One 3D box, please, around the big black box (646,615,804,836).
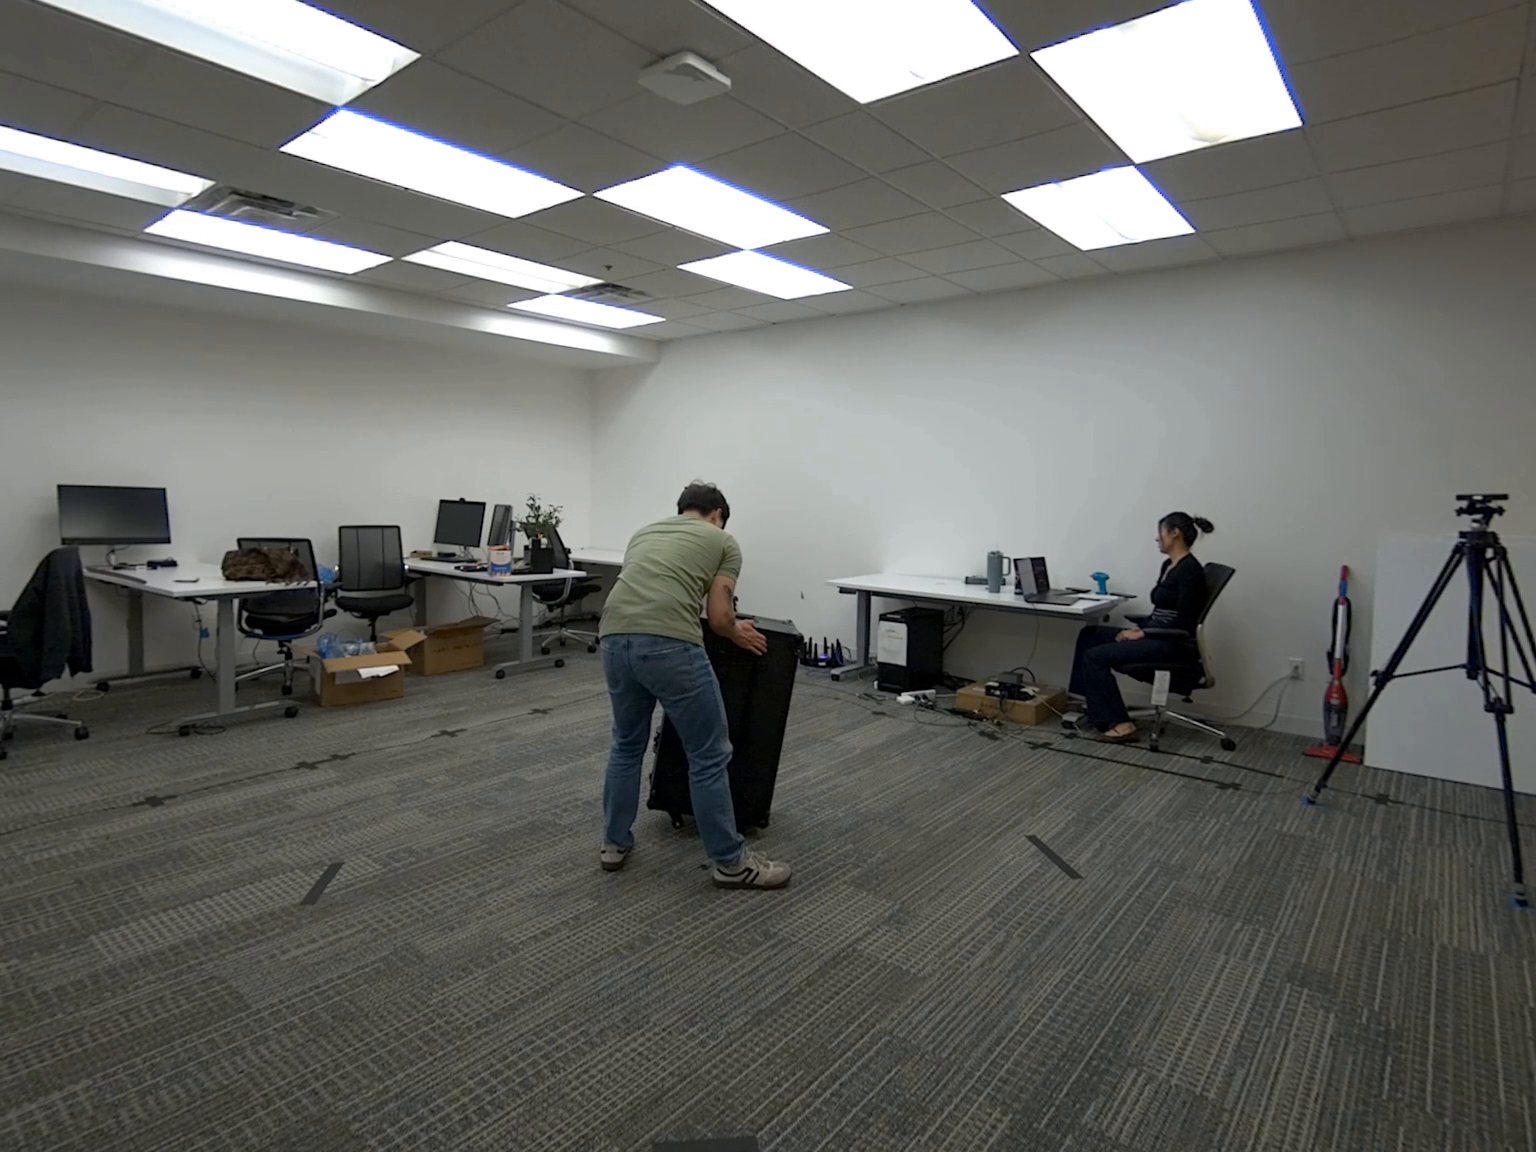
[{"bbox_3d":[-0.191,0.535,3.500,0.520,0.860,0.398,10,2,-3],"label":"big black box"}]
